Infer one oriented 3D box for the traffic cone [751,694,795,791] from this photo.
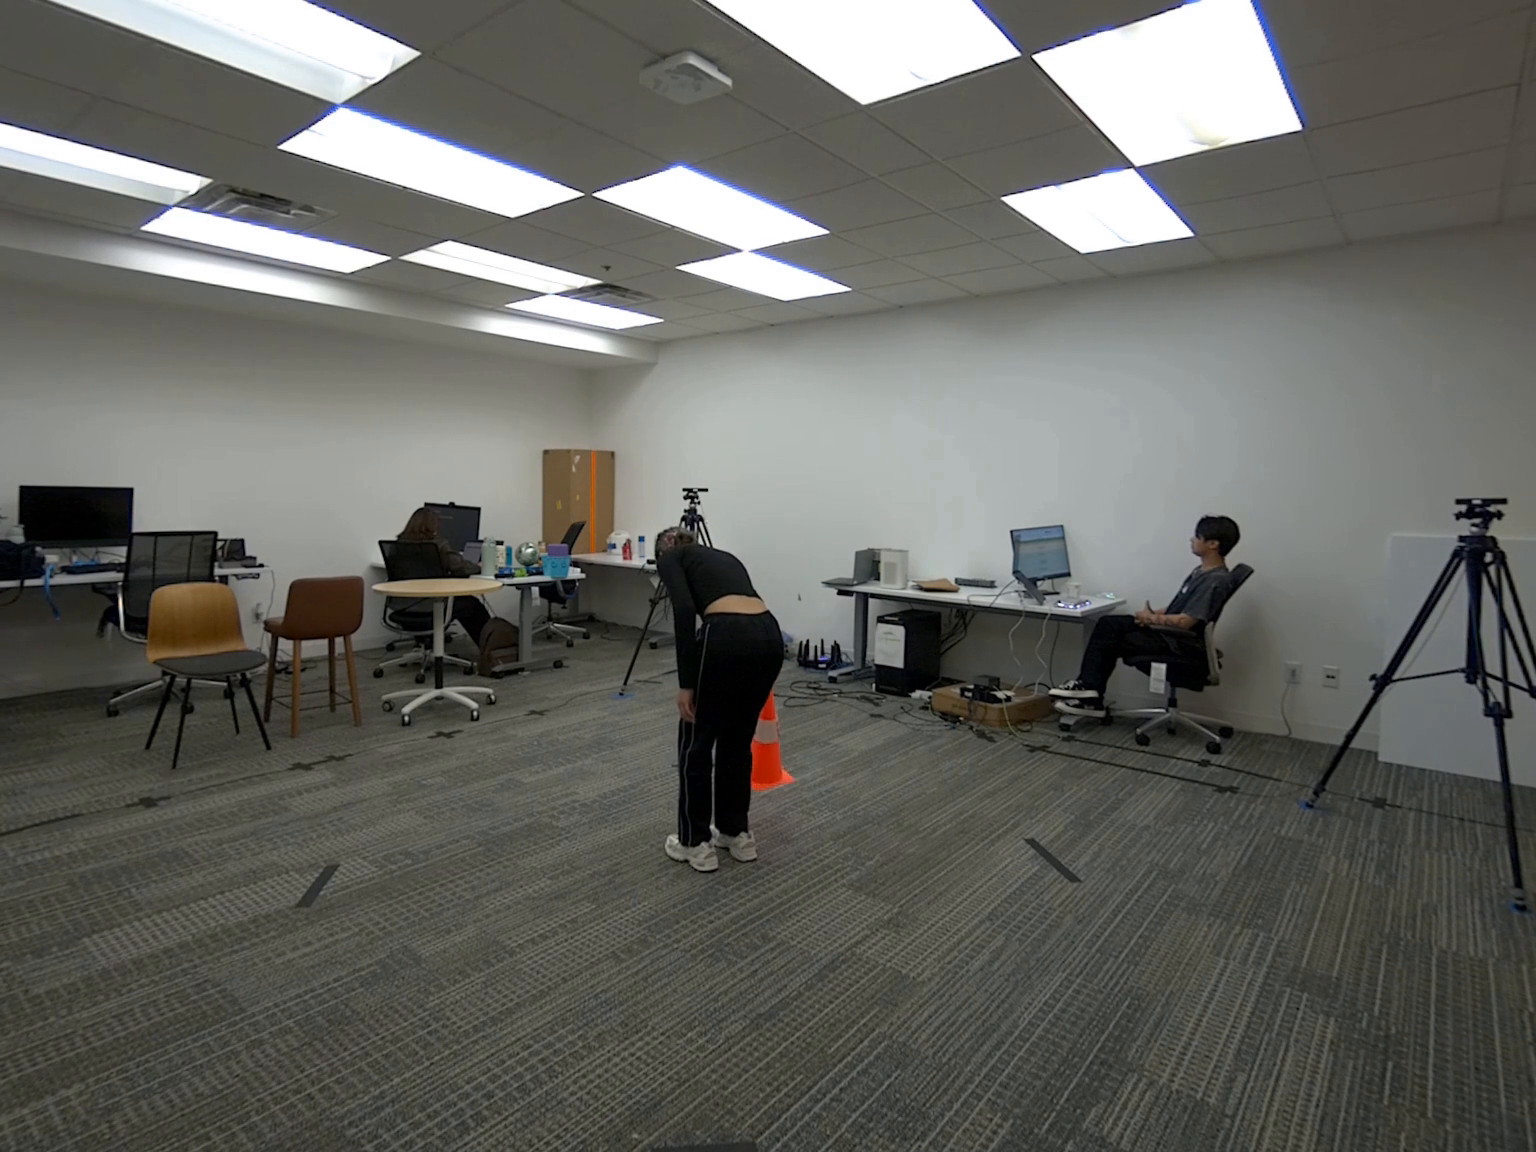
[{"bbox_3d":[-0.017,0.637,3.474,0.198,0.379,0.212,-4,14,-30],"label":"traffic cone"}]
